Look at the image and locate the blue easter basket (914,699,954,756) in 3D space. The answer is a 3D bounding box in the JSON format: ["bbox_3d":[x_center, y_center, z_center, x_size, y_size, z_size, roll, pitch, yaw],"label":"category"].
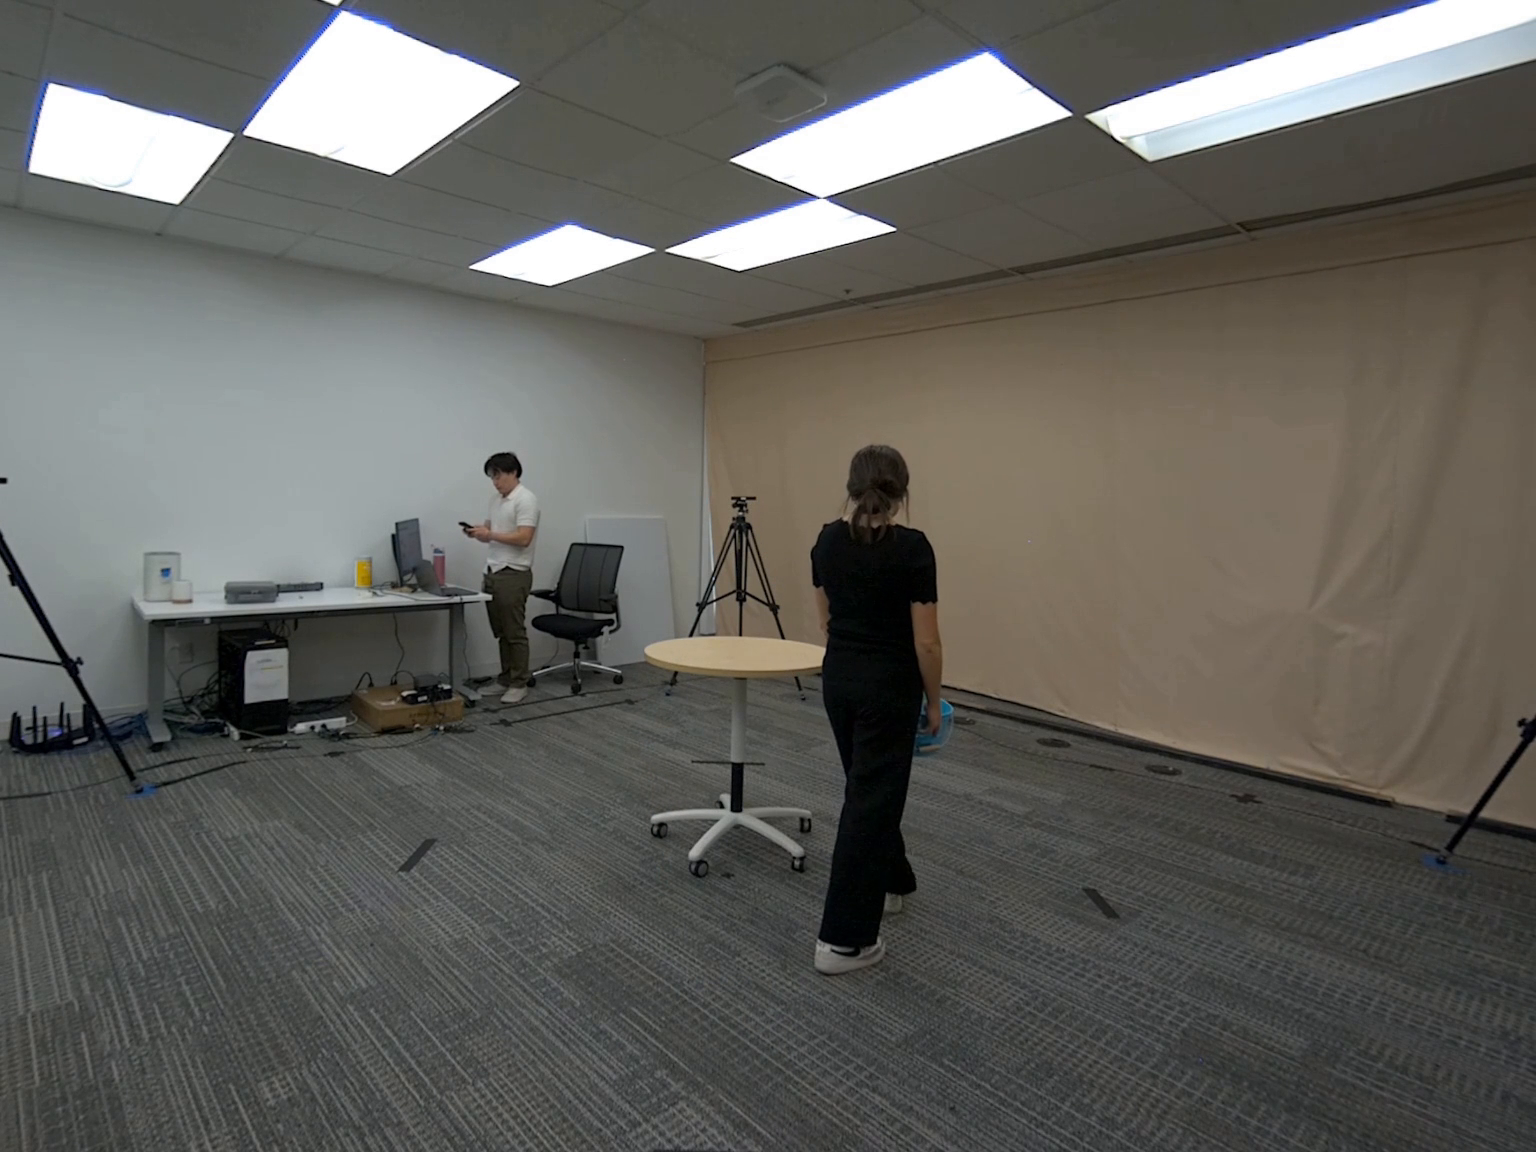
[{"bbox_3d":[0.480,0.489,2.762,0.243,0.155,0.245,6,8,-2],"label":"blue easter basket"}]
